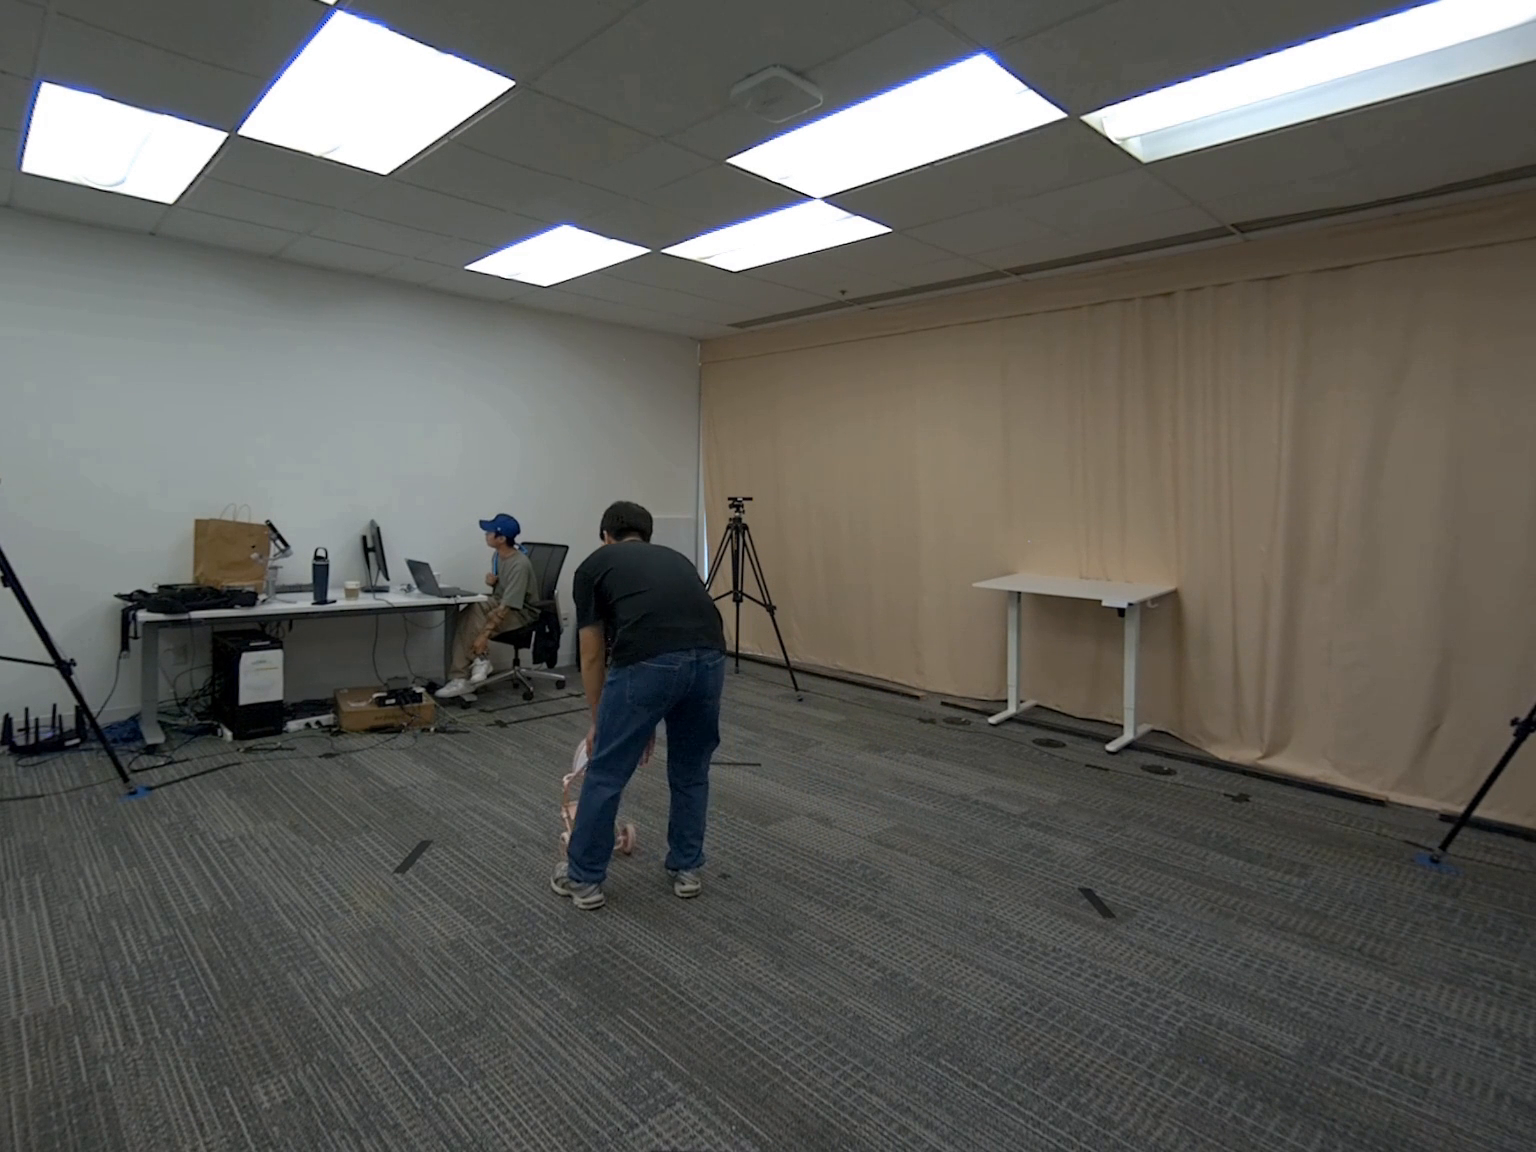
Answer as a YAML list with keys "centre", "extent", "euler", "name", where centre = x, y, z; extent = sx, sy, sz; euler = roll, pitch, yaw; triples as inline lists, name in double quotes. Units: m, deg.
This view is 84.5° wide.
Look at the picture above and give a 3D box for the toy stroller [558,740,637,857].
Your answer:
- centre: [-0.680, 0.854, 3.292]
  extent: [0.276, 0.530, 0.351]
  euler: [2, 17, -25]
  name: "toy stroller"
